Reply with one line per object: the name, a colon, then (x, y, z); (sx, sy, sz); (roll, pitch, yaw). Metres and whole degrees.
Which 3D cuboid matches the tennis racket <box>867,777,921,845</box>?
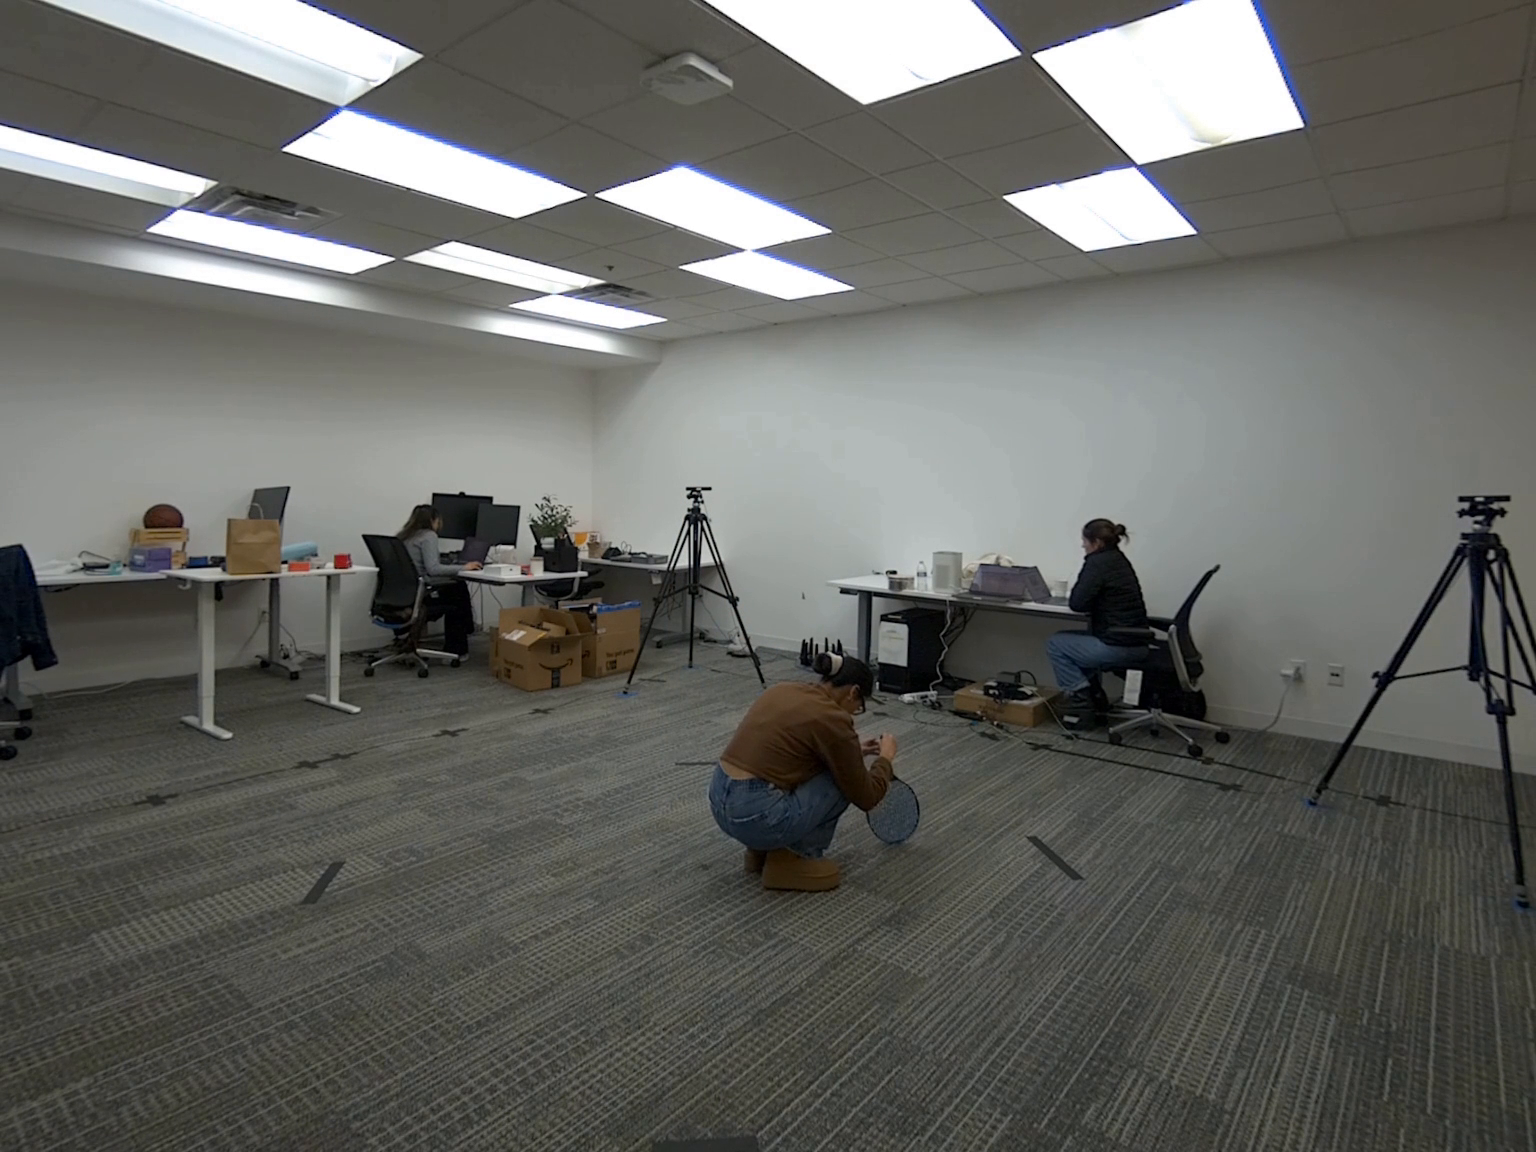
tennis racket: (0.472, 0.843, 3.338); (0.212, 0.429, 0.032); (-10, 7, -8)
